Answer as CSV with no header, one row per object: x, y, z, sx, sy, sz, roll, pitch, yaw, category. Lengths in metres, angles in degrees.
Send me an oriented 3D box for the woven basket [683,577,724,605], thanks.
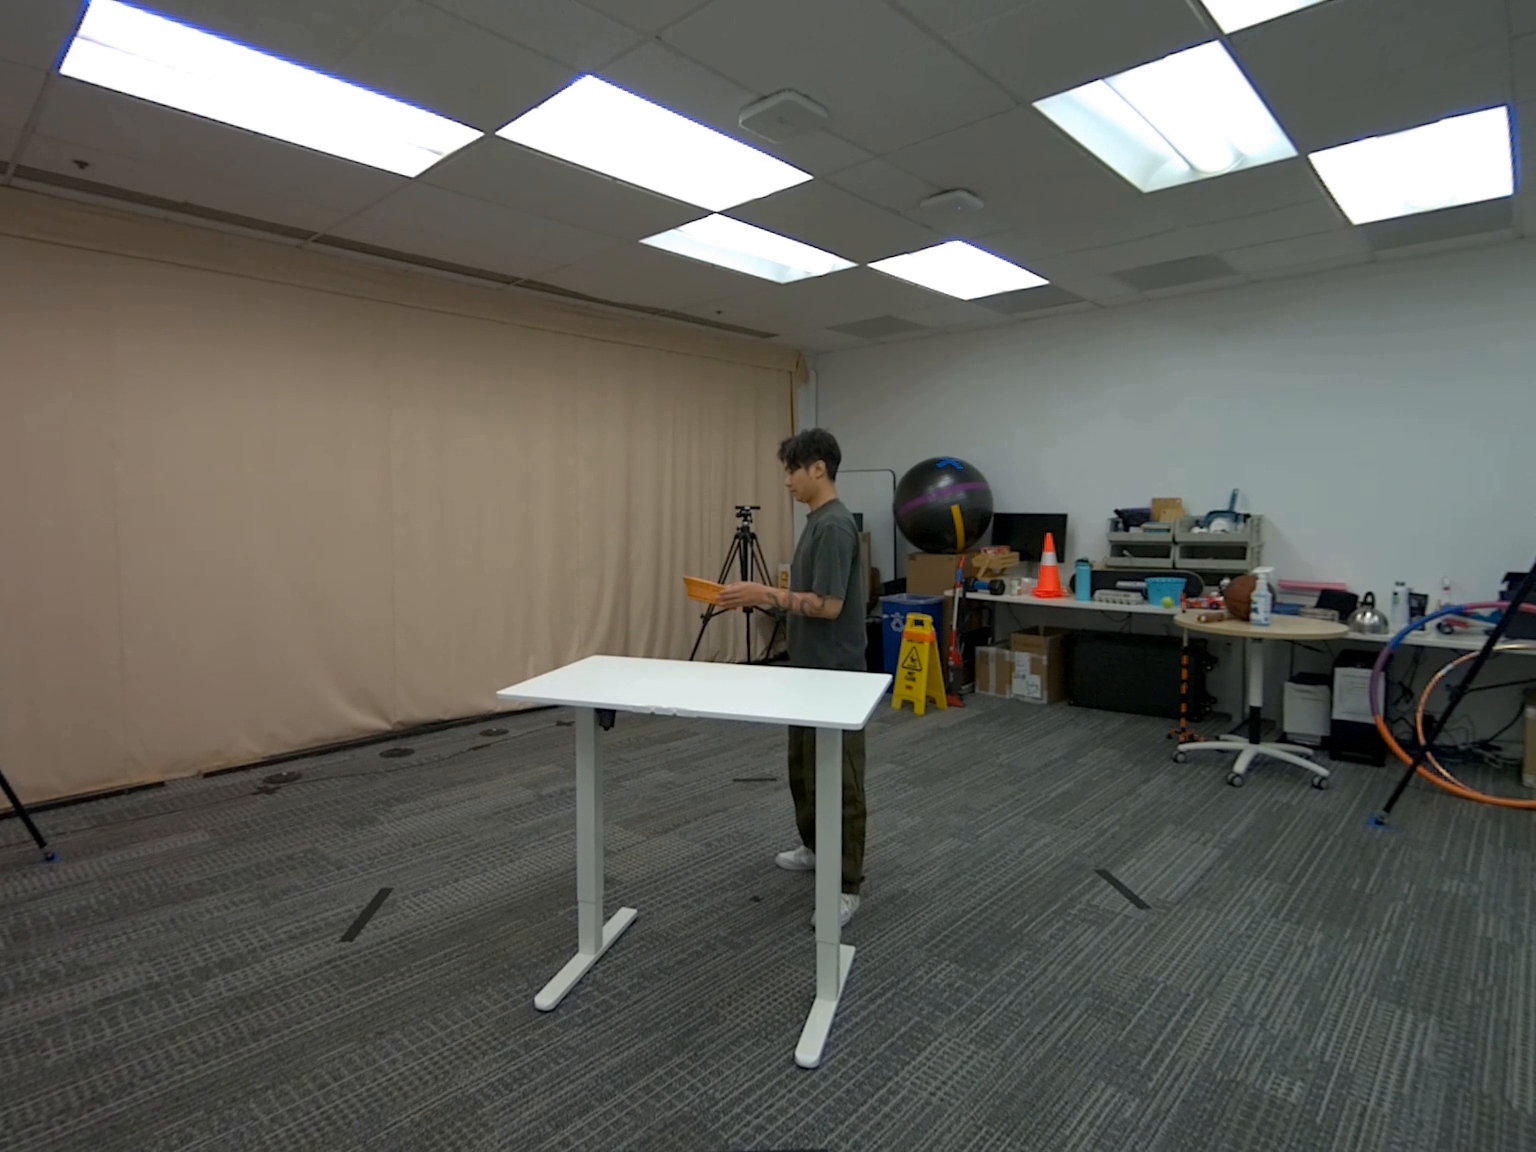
-0.189,0.070,3.090,0.251,0.073,0.352,14,-2,-7,woven basket
